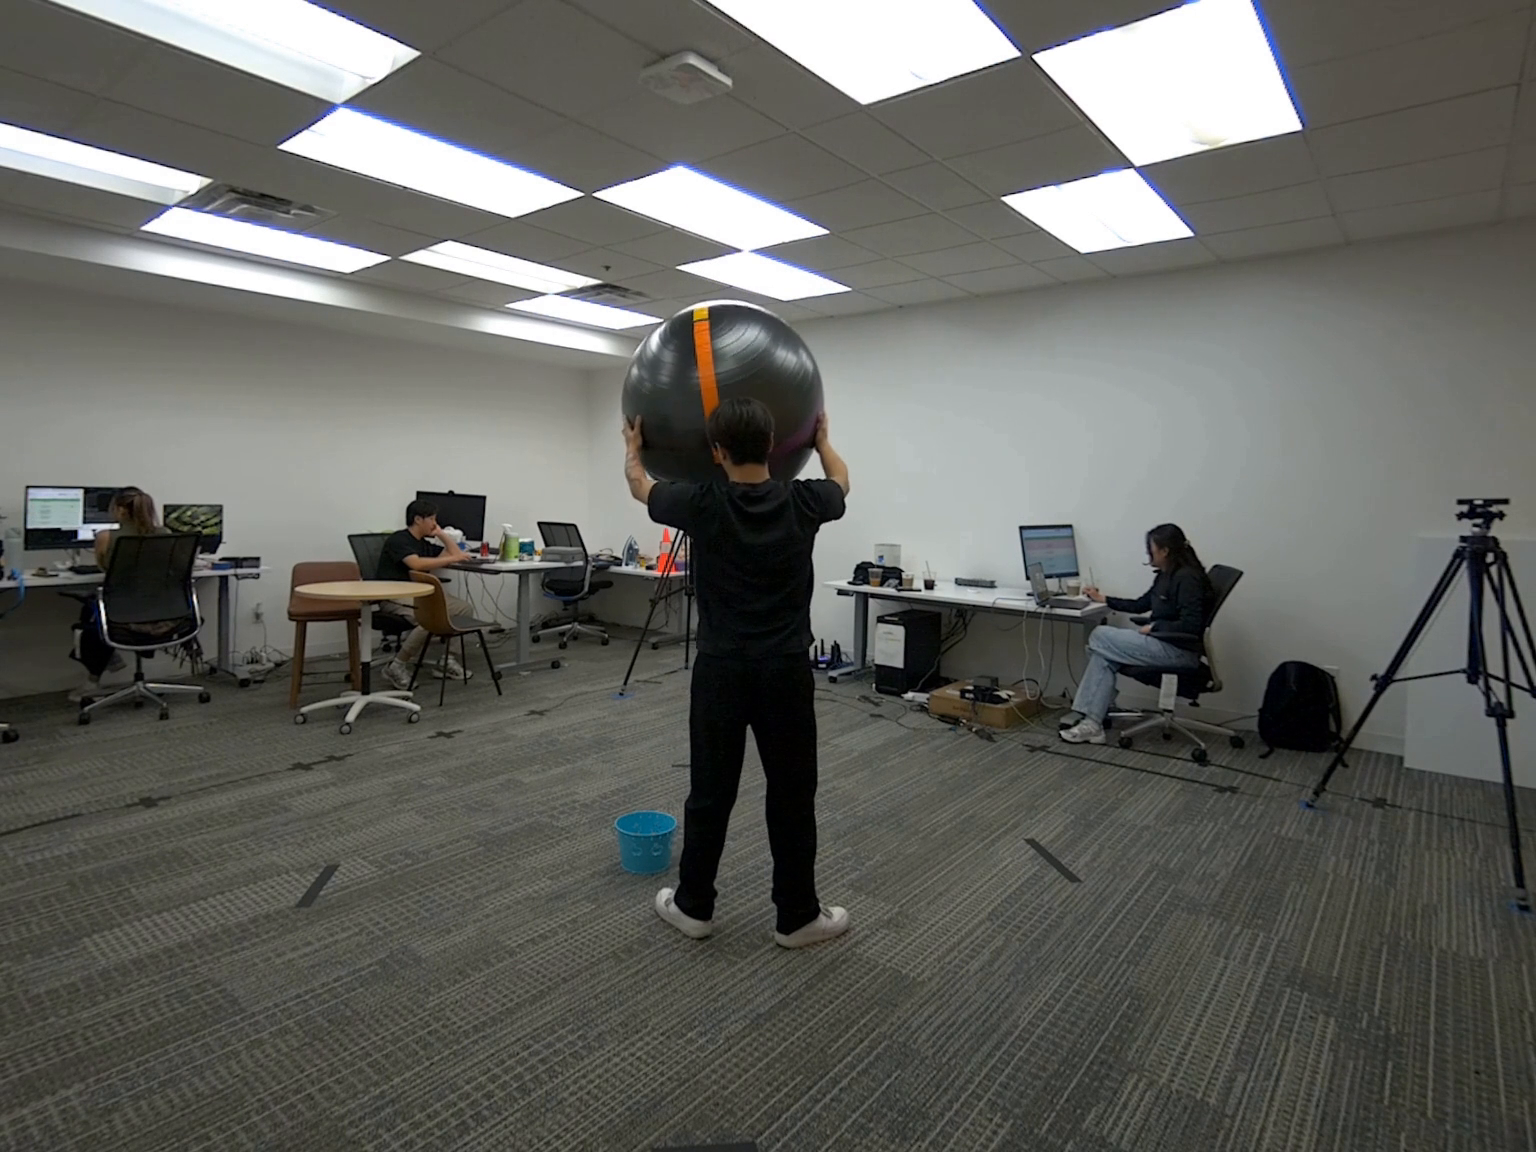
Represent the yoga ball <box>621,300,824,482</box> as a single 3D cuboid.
[{"bbox_3d":[-0.175,-0.630,3.170,0.757,0.755,0.762,1,4,-2],"label":"yoga ball"}]
